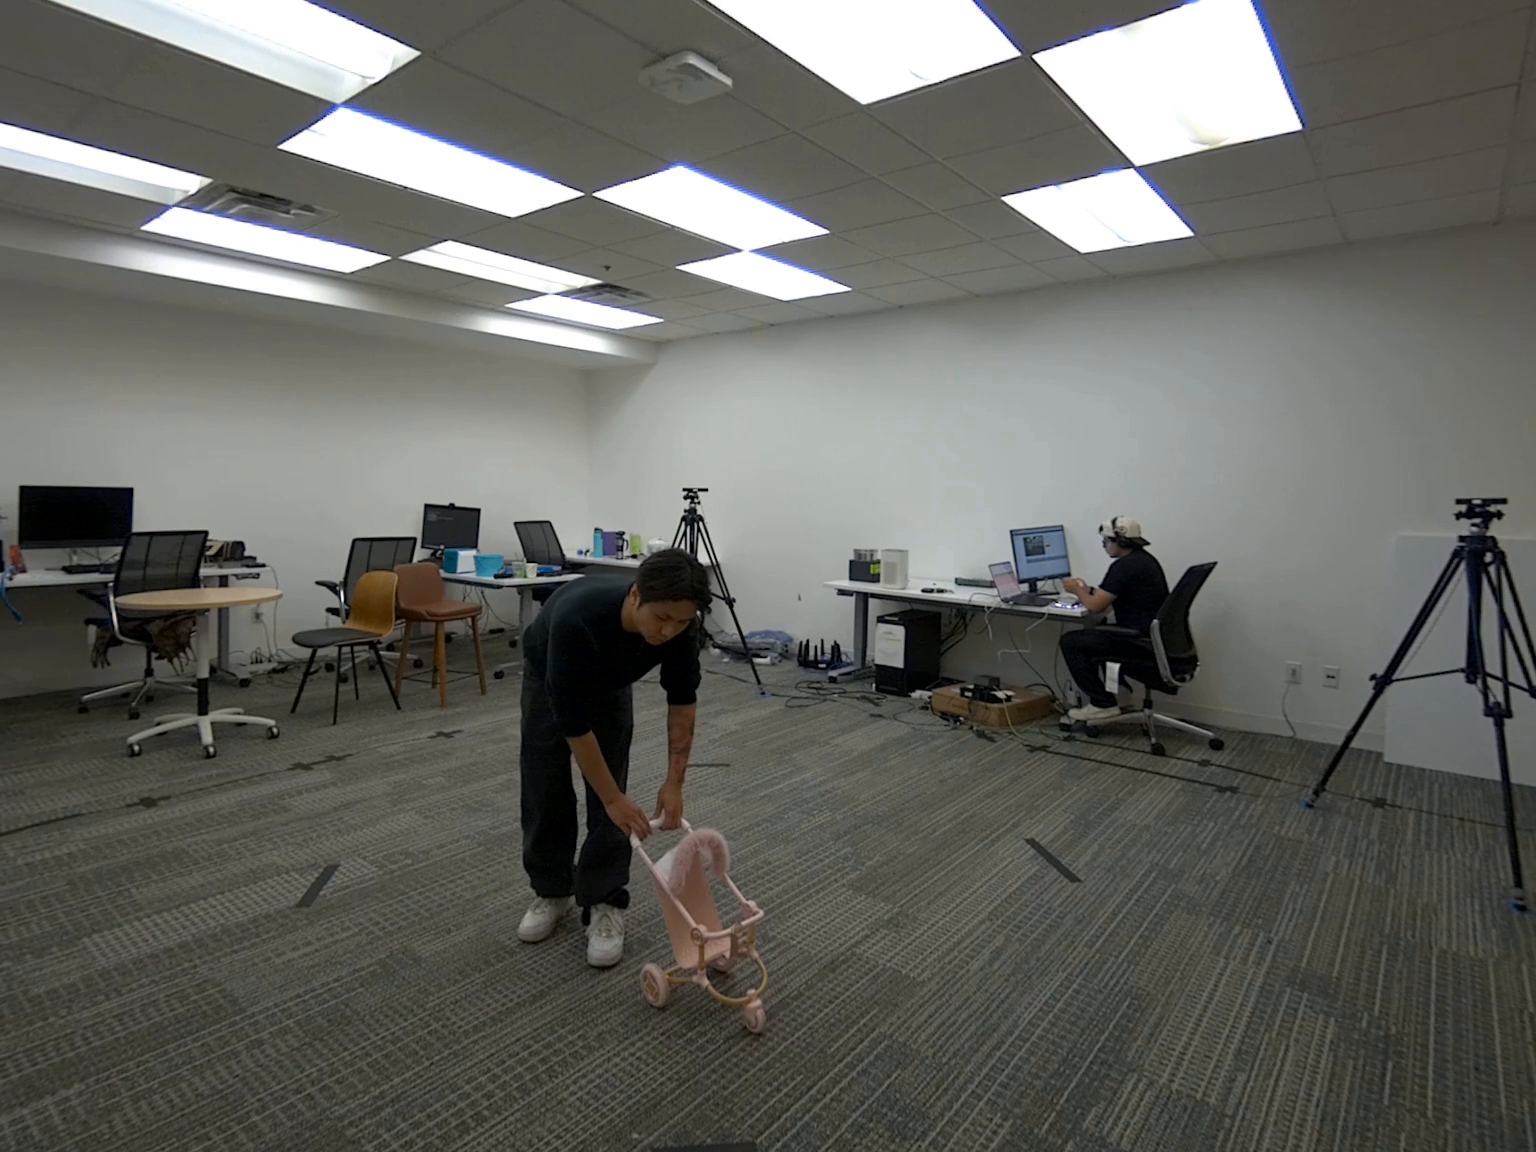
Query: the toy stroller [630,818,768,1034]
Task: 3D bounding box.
[{"bbox_3d":[-0.176,0.923,2.307,0.273,0.541,0.348,-3,-12,-42],"label":"toy stroller"}]
